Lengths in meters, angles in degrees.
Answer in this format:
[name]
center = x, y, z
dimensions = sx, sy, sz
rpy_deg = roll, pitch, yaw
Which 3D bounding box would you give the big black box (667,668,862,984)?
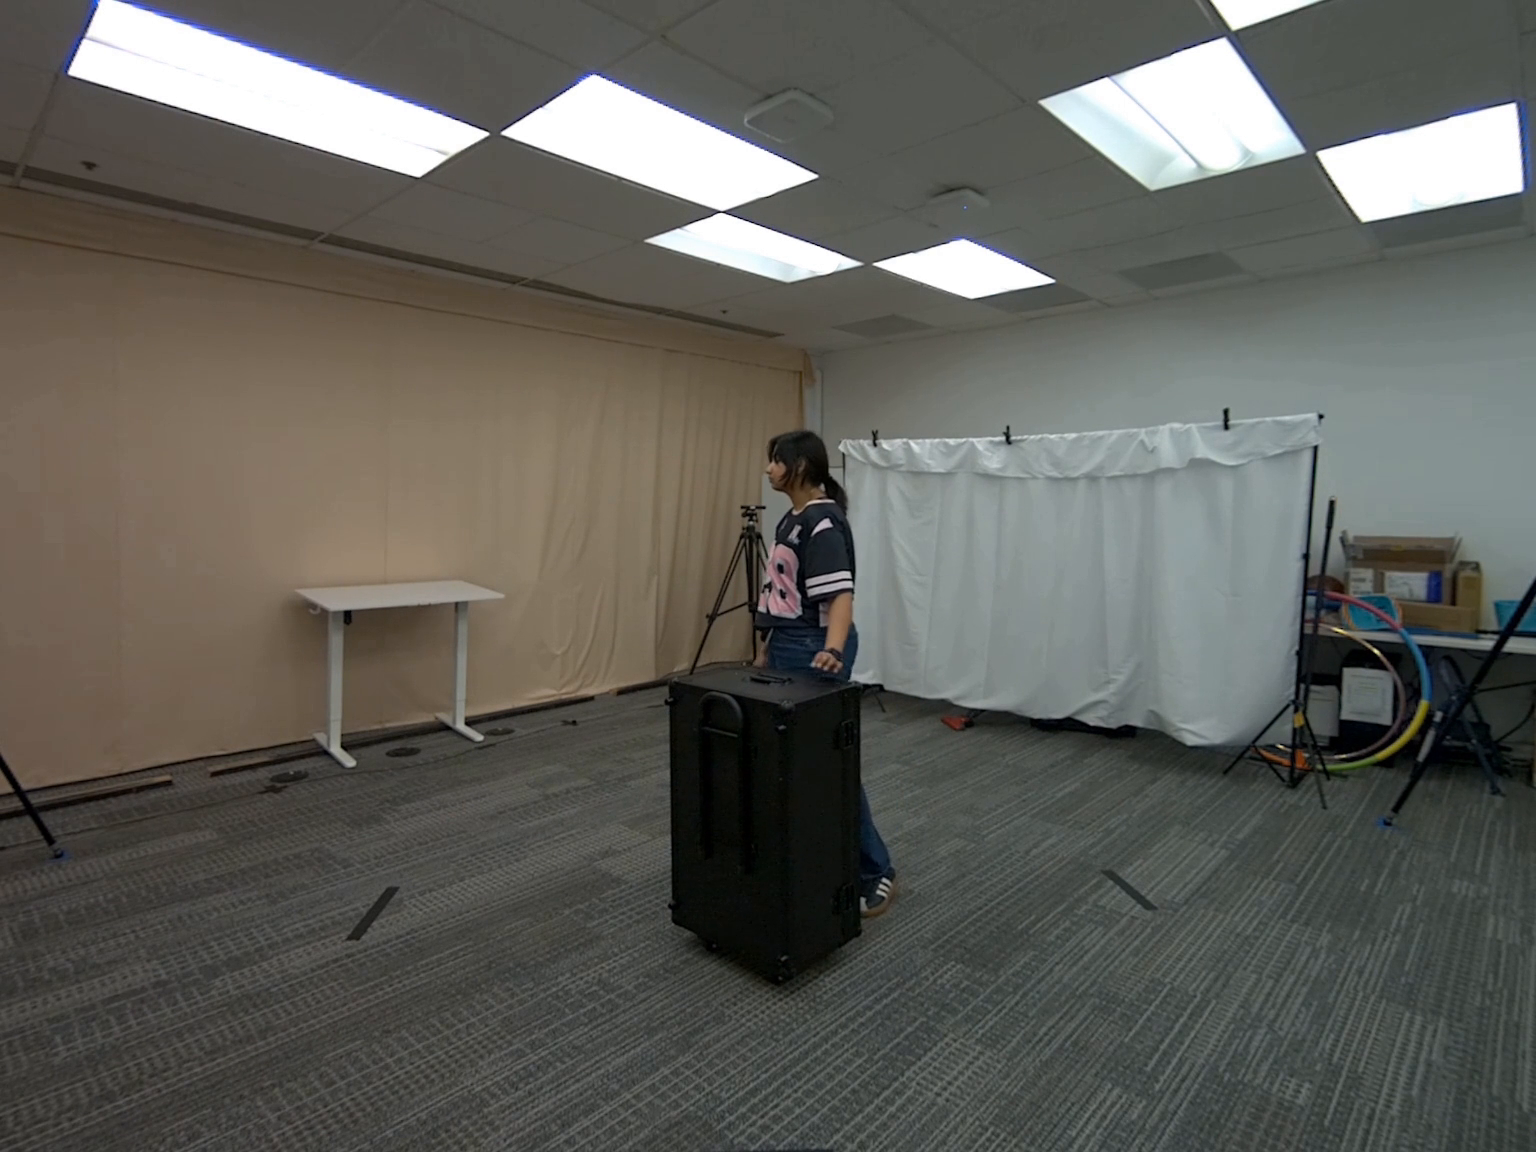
[big black box]
center = -0.015, 0.751, 2.599
dimensions = 0.539, 0.859, 0.384
rpy_deg = 3, 6, 44
